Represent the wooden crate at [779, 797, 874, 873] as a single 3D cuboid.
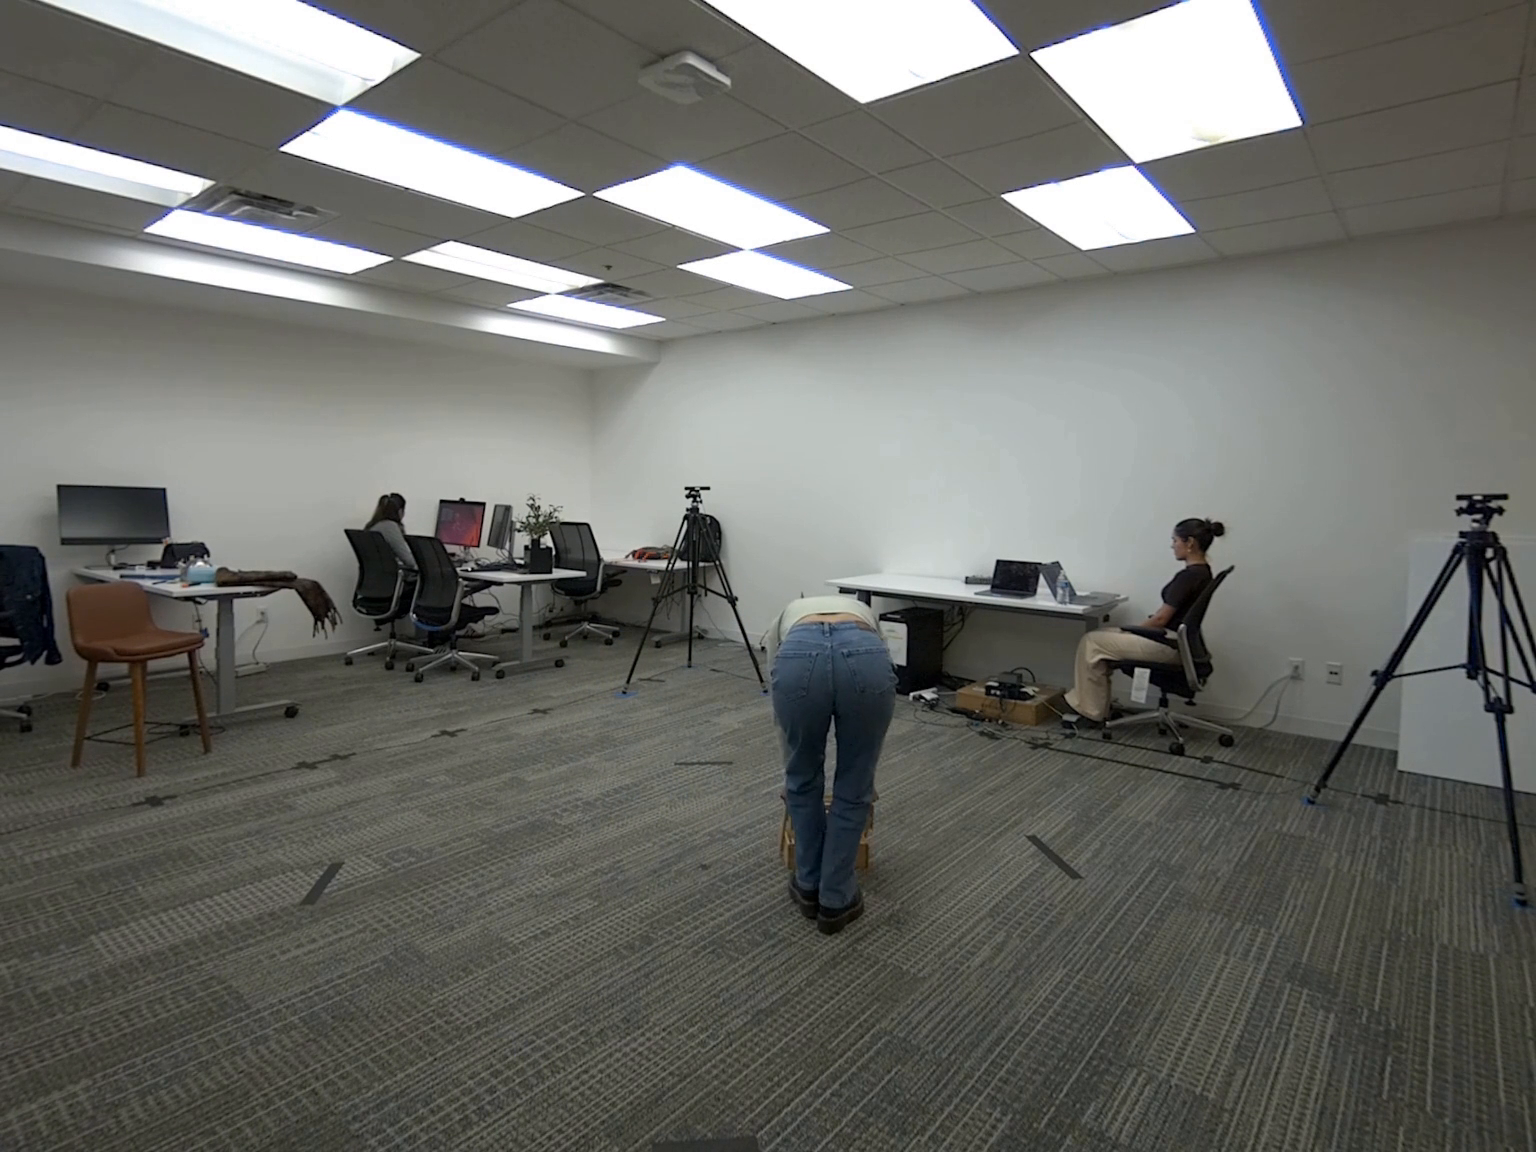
[{"bbox_3d":[0.206,0.925,3.211,0.323,0.272,0.305,1,5,-5],"label":"wooden crate"}]
